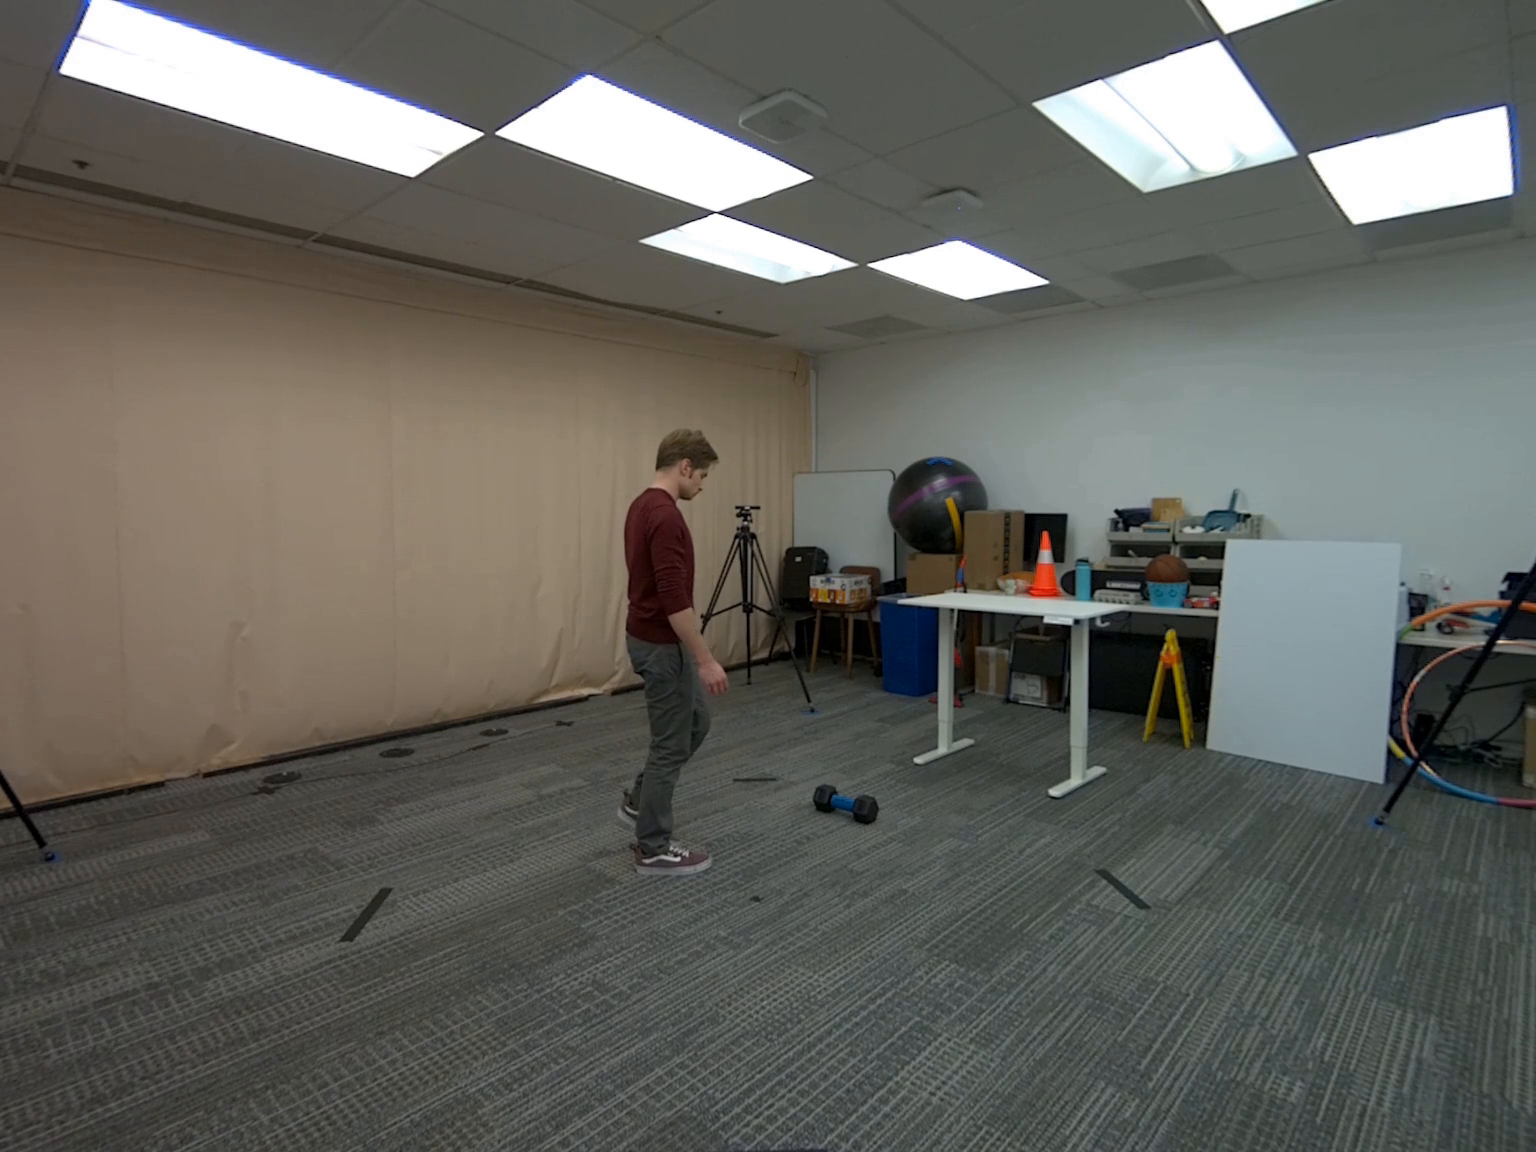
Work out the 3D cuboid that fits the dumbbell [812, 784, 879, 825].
[{"bbox_3d":[0.352,1.024,3.791,0.303,0.123,0.105,4,-26,40],"label":"dumbbell"}]
